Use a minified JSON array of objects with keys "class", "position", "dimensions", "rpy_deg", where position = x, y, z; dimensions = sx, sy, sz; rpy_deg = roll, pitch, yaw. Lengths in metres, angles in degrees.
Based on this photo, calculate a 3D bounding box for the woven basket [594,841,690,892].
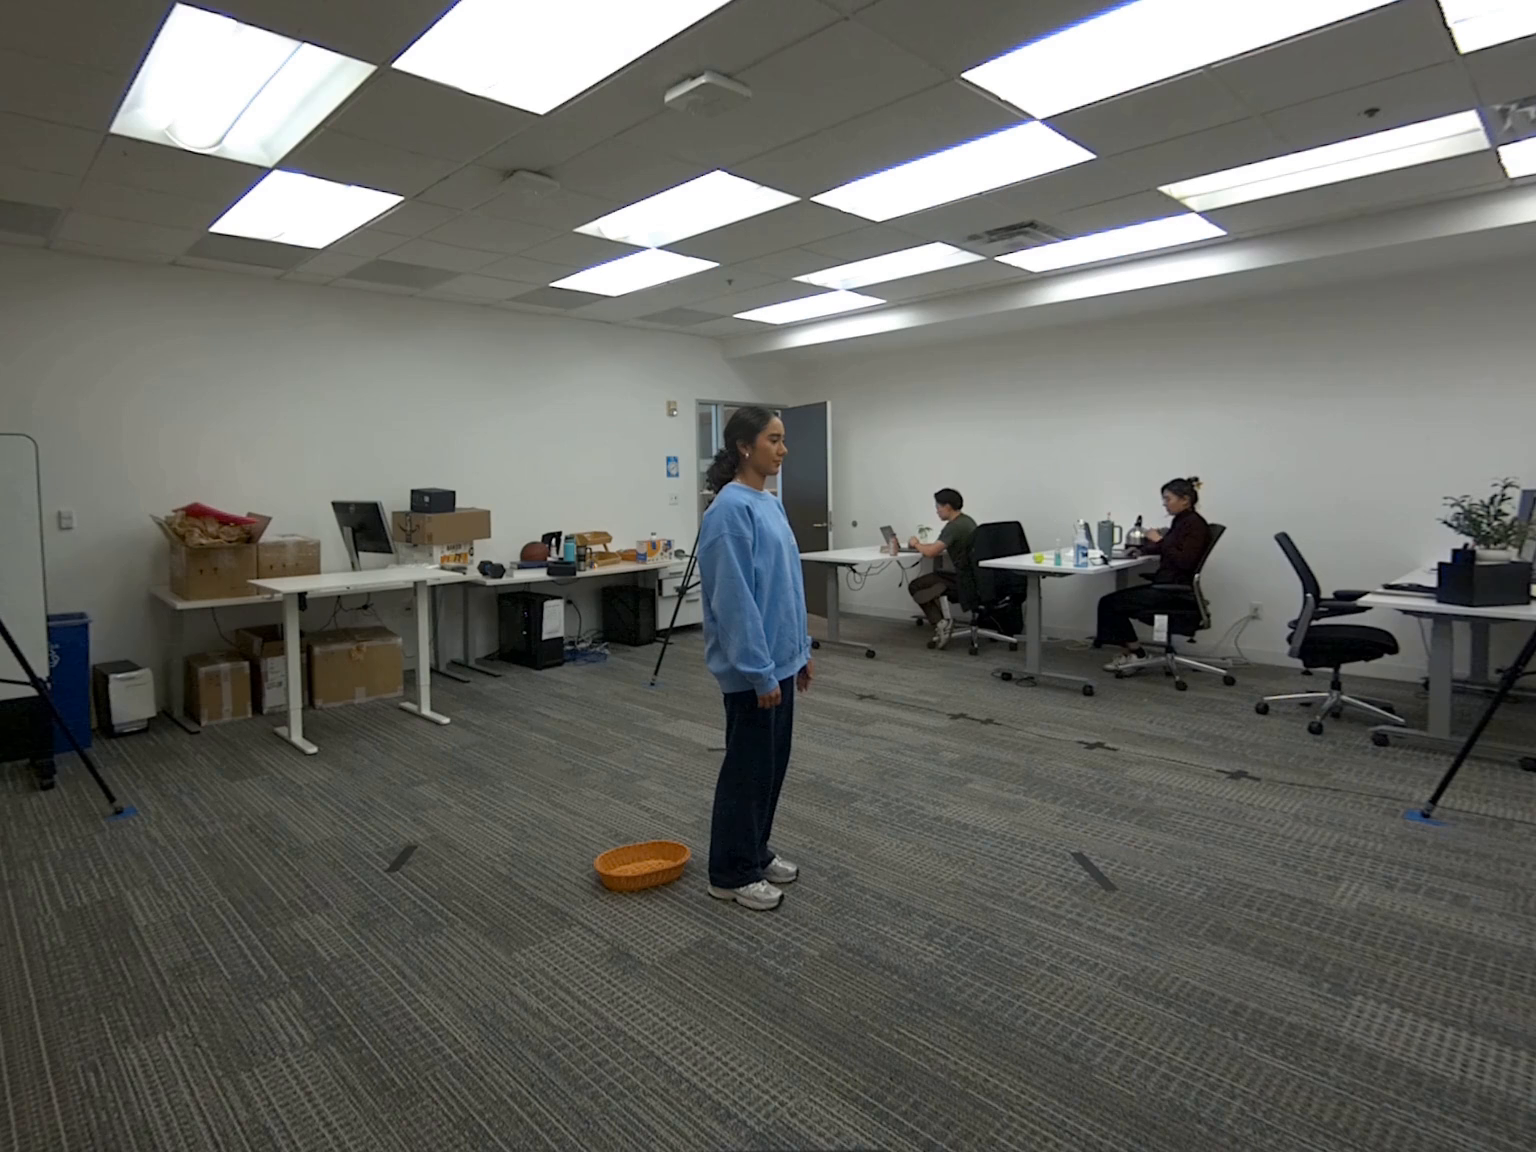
[{"class":"woven basket","position":[-0.435,1.024,3.012],"dimensions":[0.343,0.073,0.259],"rpy_deg":[-4,7,-25]}]
